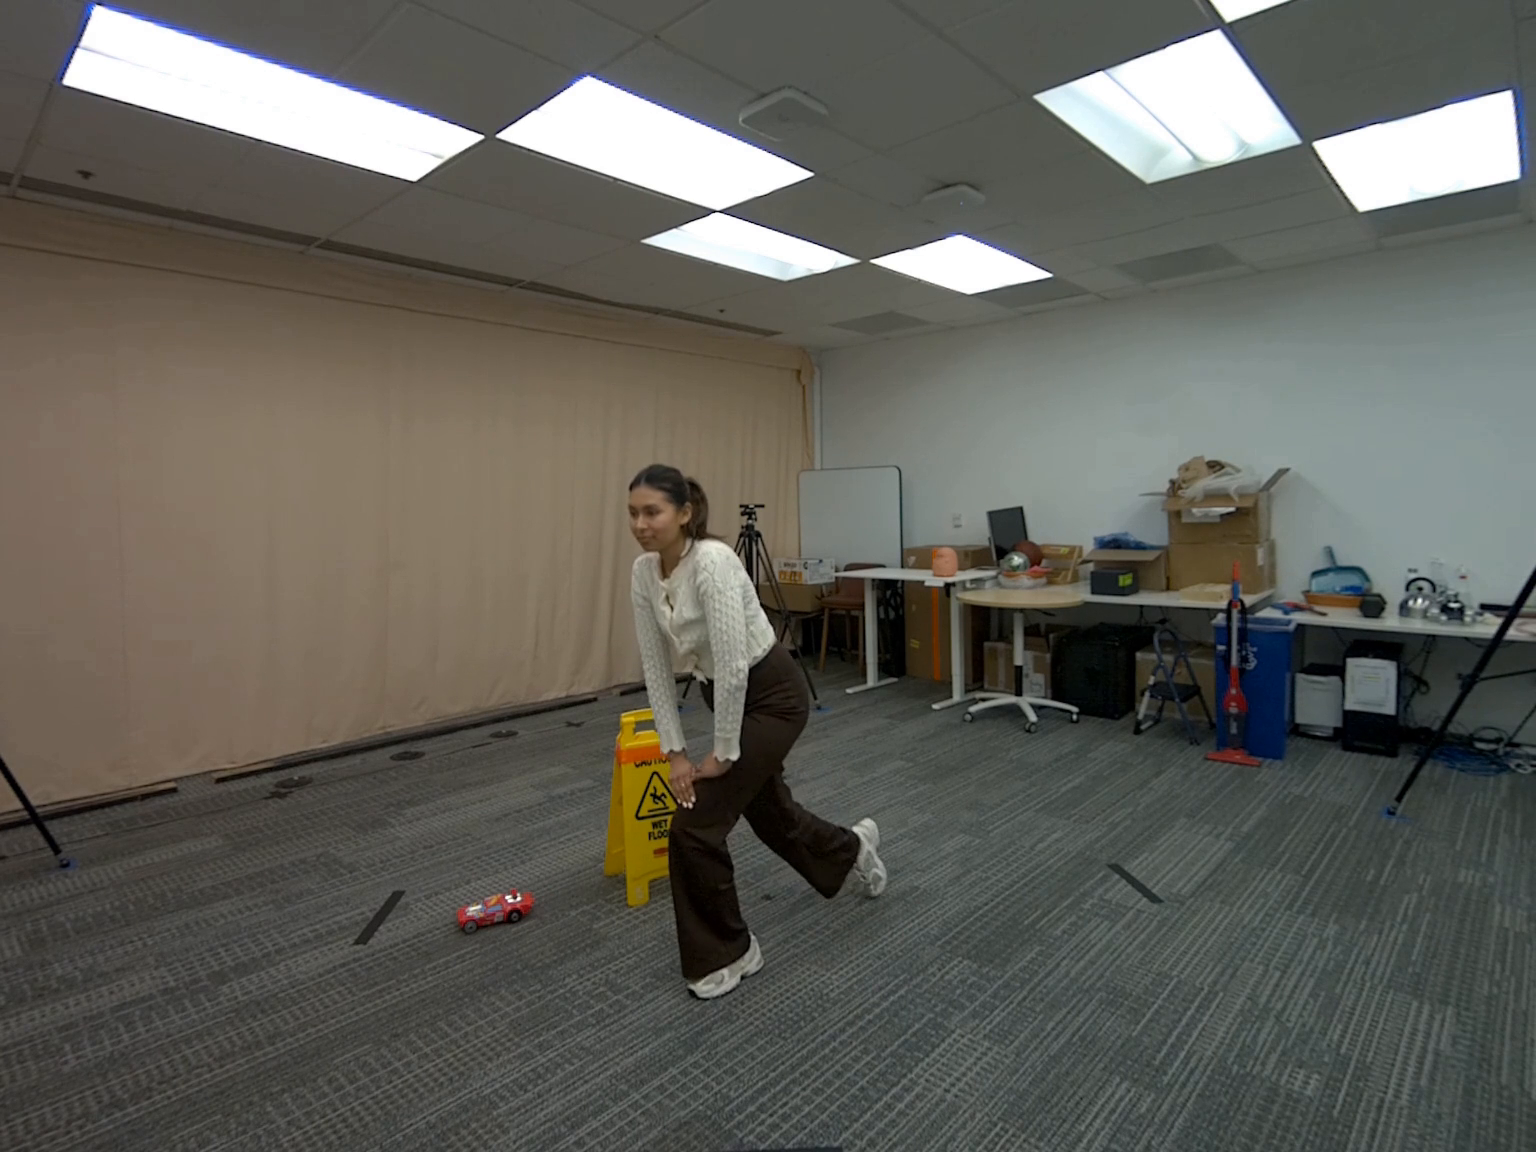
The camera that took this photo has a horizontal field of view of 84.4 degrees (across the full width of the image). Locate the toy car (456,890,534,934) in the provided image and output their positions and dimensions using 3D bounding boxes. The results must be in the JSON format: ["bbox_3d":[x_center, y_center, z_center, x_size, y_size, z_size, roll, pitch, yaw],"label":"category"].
[{"bbox_3d":[-0.931,1.142,2.859,0.250,0.083,0.133,-15,9,-23],"label":"toy car"}]
